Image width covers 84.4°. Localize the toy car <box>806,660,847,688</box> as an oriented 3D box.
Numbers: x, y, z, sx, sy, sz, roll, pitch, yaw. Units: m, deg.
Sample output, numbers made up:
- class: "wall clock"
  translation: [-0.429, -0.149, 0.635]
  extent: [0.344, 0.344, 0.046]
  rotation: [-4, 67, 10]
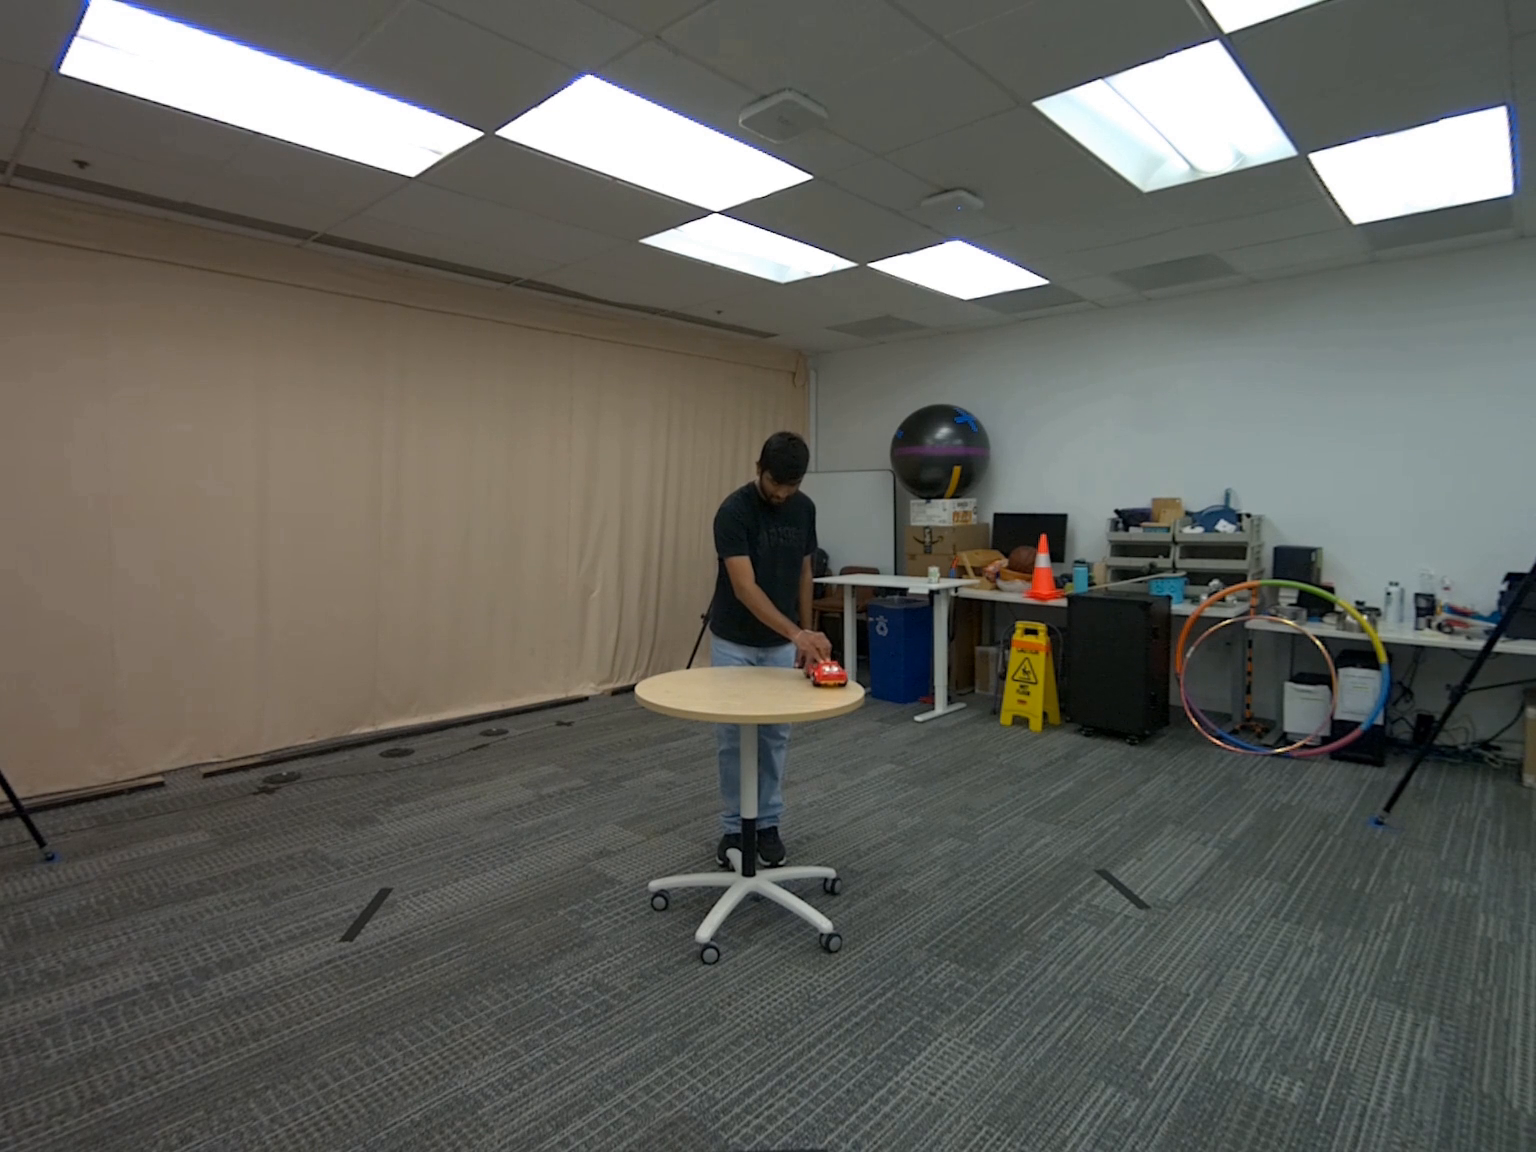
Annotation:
- class: "toy car"
  translation: [0.201, 0.336, 2.901]
  extent: [0.129, 0.083, 0.255]
  rotation: [-1, -7, -7]
